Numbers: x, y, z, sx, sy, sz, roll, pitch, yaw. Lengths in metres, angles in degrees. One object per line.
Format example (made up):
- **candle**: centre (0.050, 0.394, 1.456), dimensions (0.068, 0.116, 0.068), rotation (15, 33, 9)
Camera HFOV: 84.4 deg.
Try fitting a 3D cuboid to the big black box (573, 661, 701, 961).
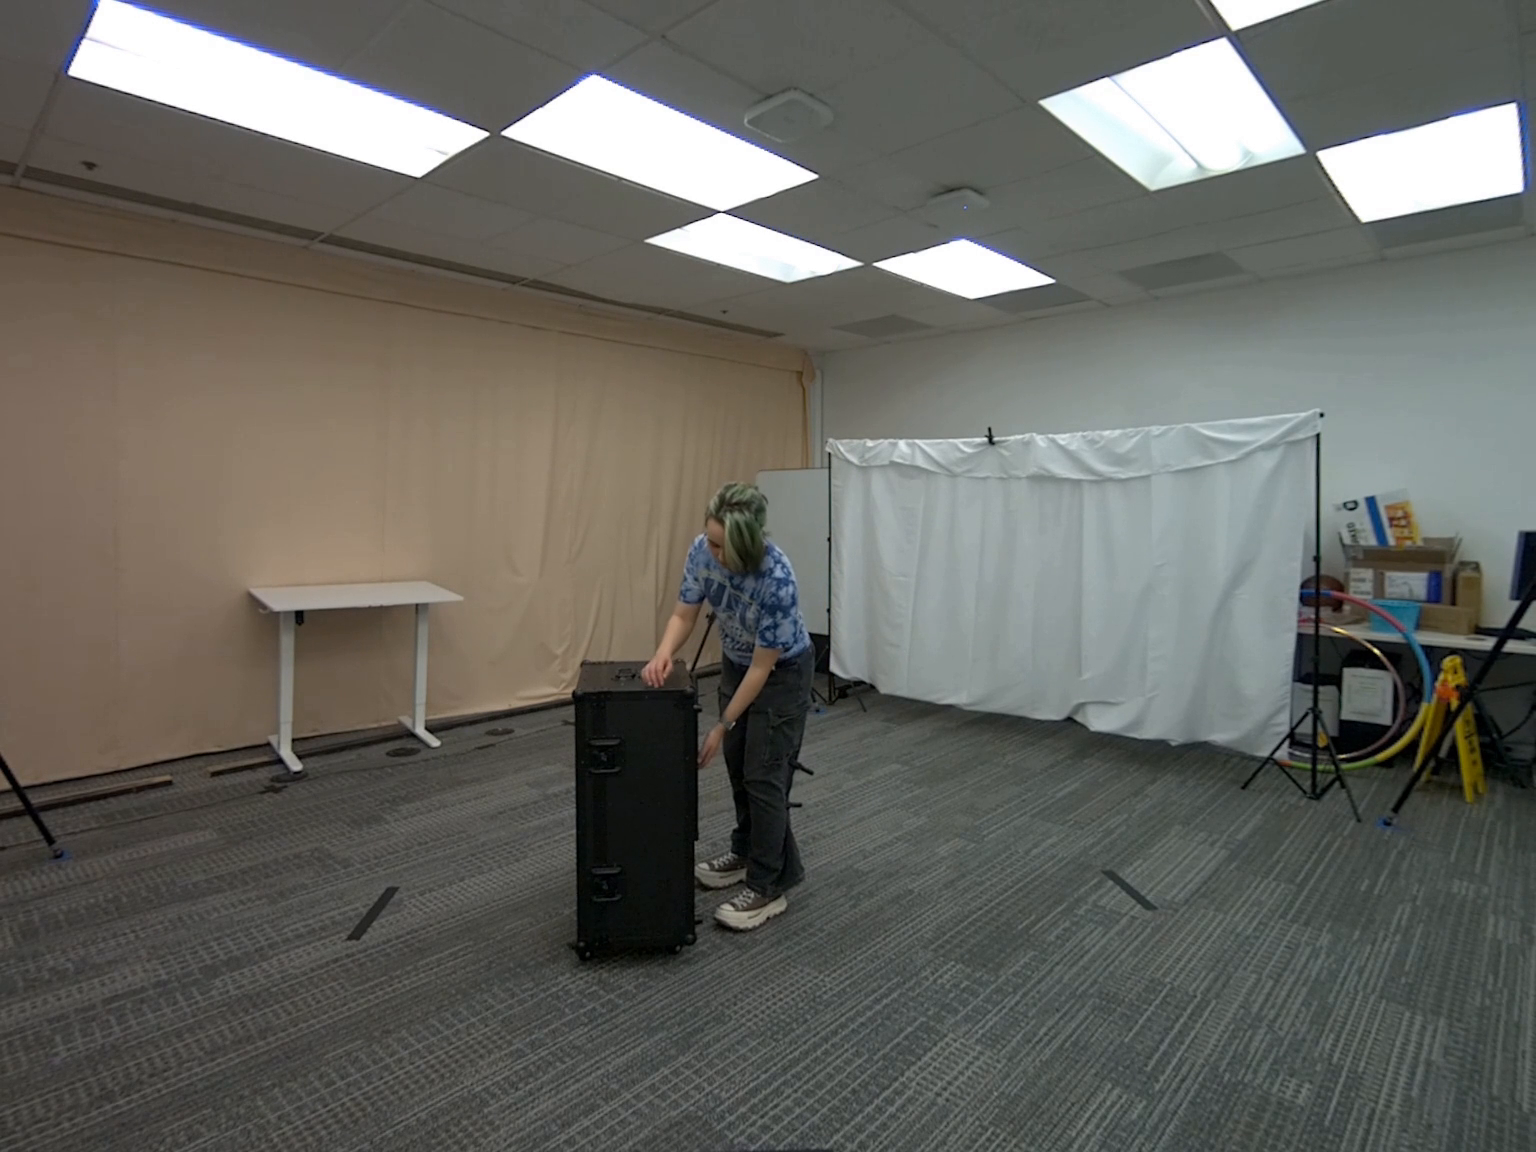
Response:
- **big black box**: centre (-0.427, 0.746, 2.737), dimensions (0.394, 0.860, 0.525), rotation (1, 2, -7)
